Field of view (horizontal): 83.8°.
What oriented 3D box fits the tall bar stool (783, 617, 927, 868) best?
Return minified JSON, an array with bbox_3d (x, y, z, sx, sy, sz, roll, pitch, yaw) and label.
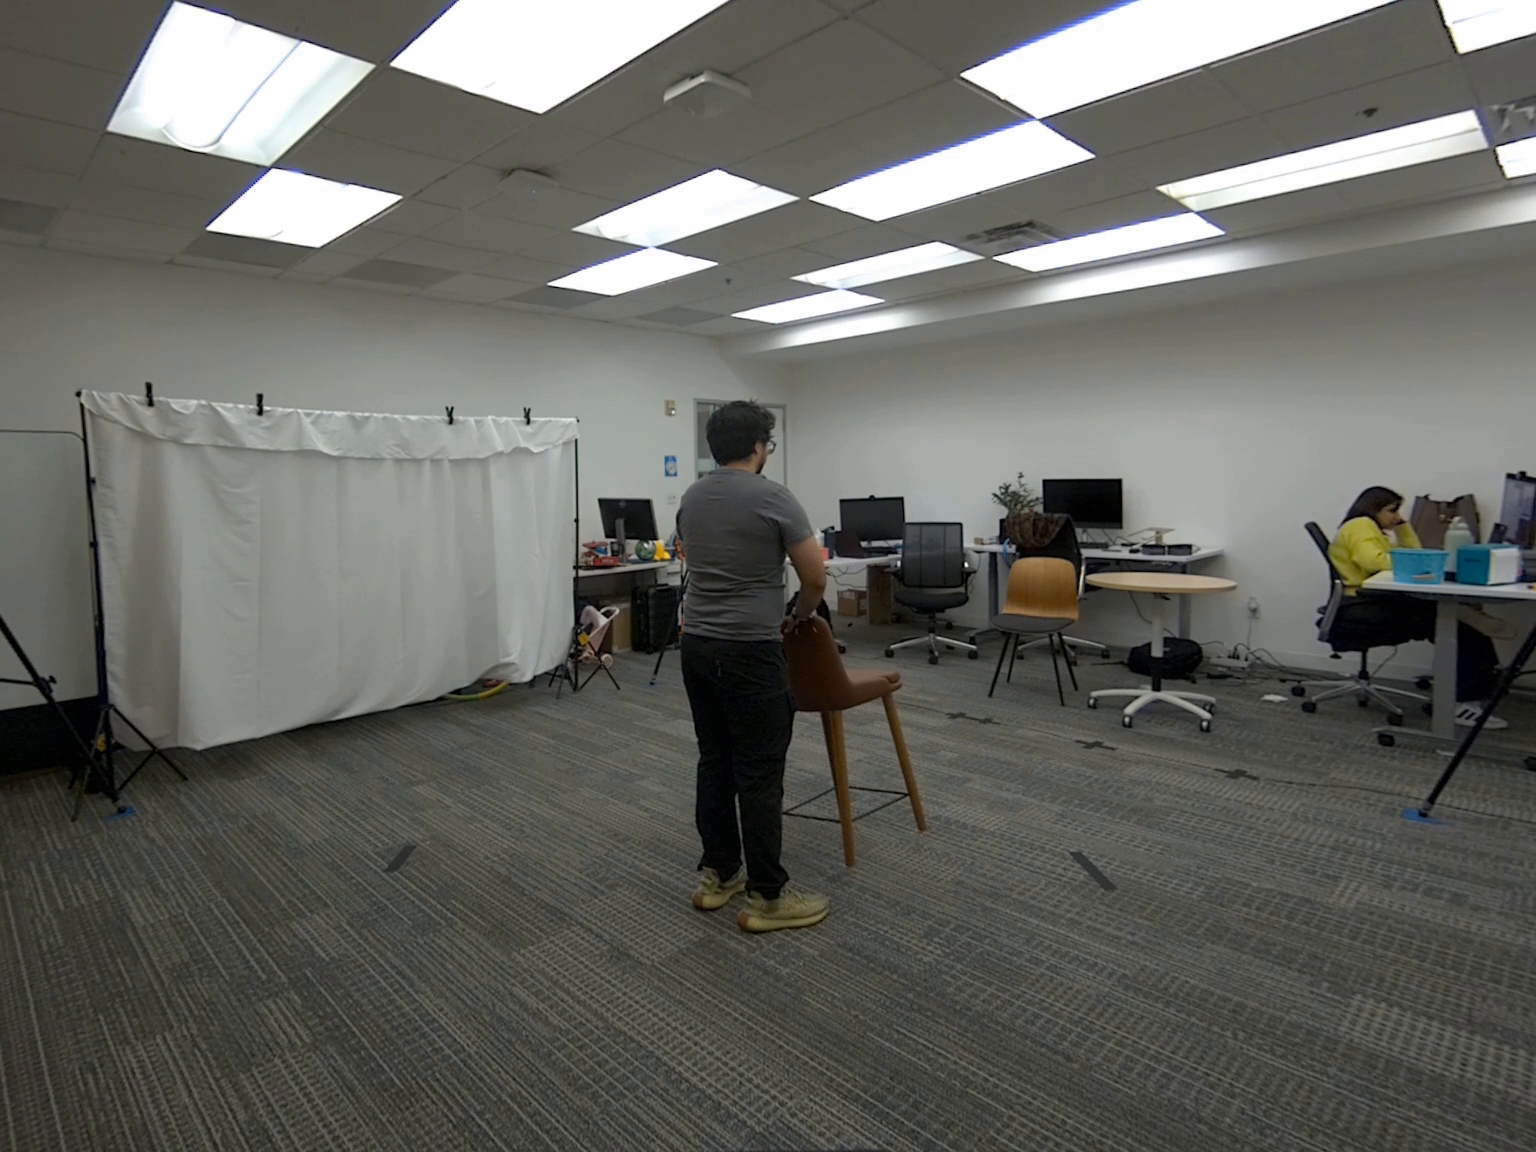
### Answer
[{"bbox_3d":[0.241,0.565,3.225,0.456,0.890,0.468,-8,0,-45],"label":"tall bar stool"}]
